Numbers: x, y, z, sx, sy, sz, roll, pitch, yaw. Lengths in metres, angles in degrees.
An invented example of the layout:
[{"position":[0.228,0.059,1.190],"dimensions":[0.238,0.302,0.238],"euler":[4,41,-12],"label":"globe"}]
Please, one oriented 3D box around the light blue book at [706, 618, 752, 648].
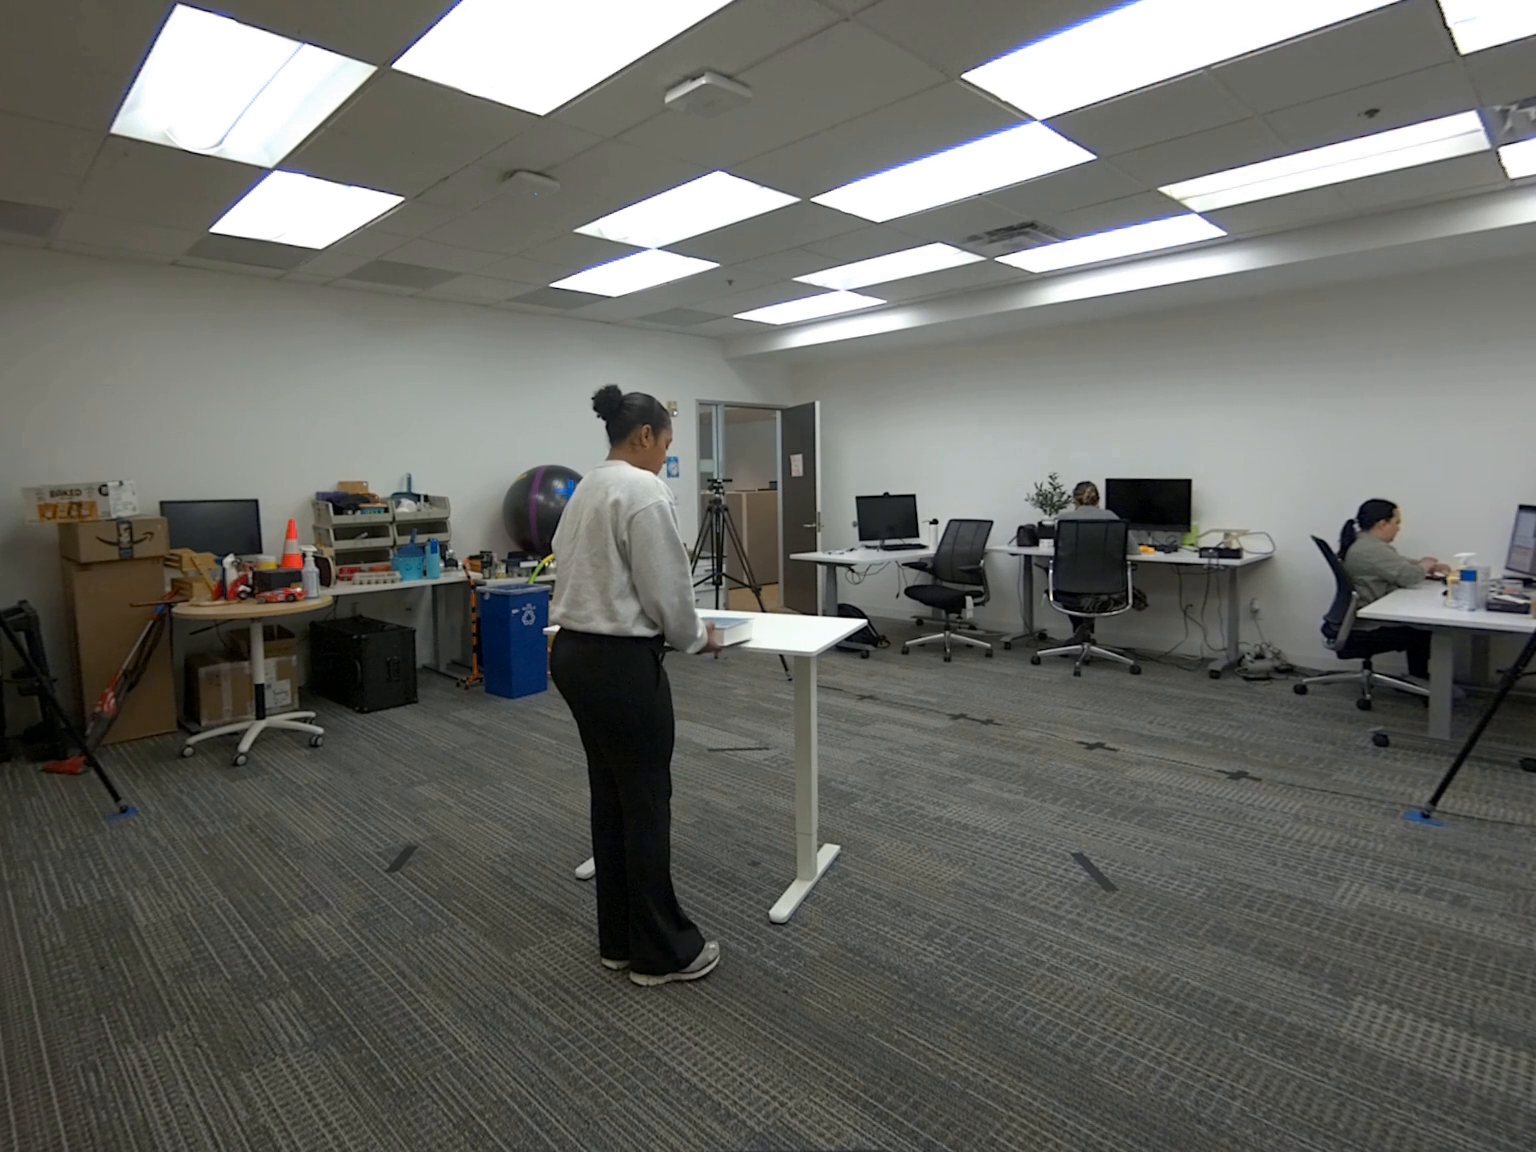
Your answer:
[{"position":[-0.163,0.171,2.664],"dimensions":[0.194,0.059,0.257],"euler":[1,3,16],"label":"light blue book"}]
